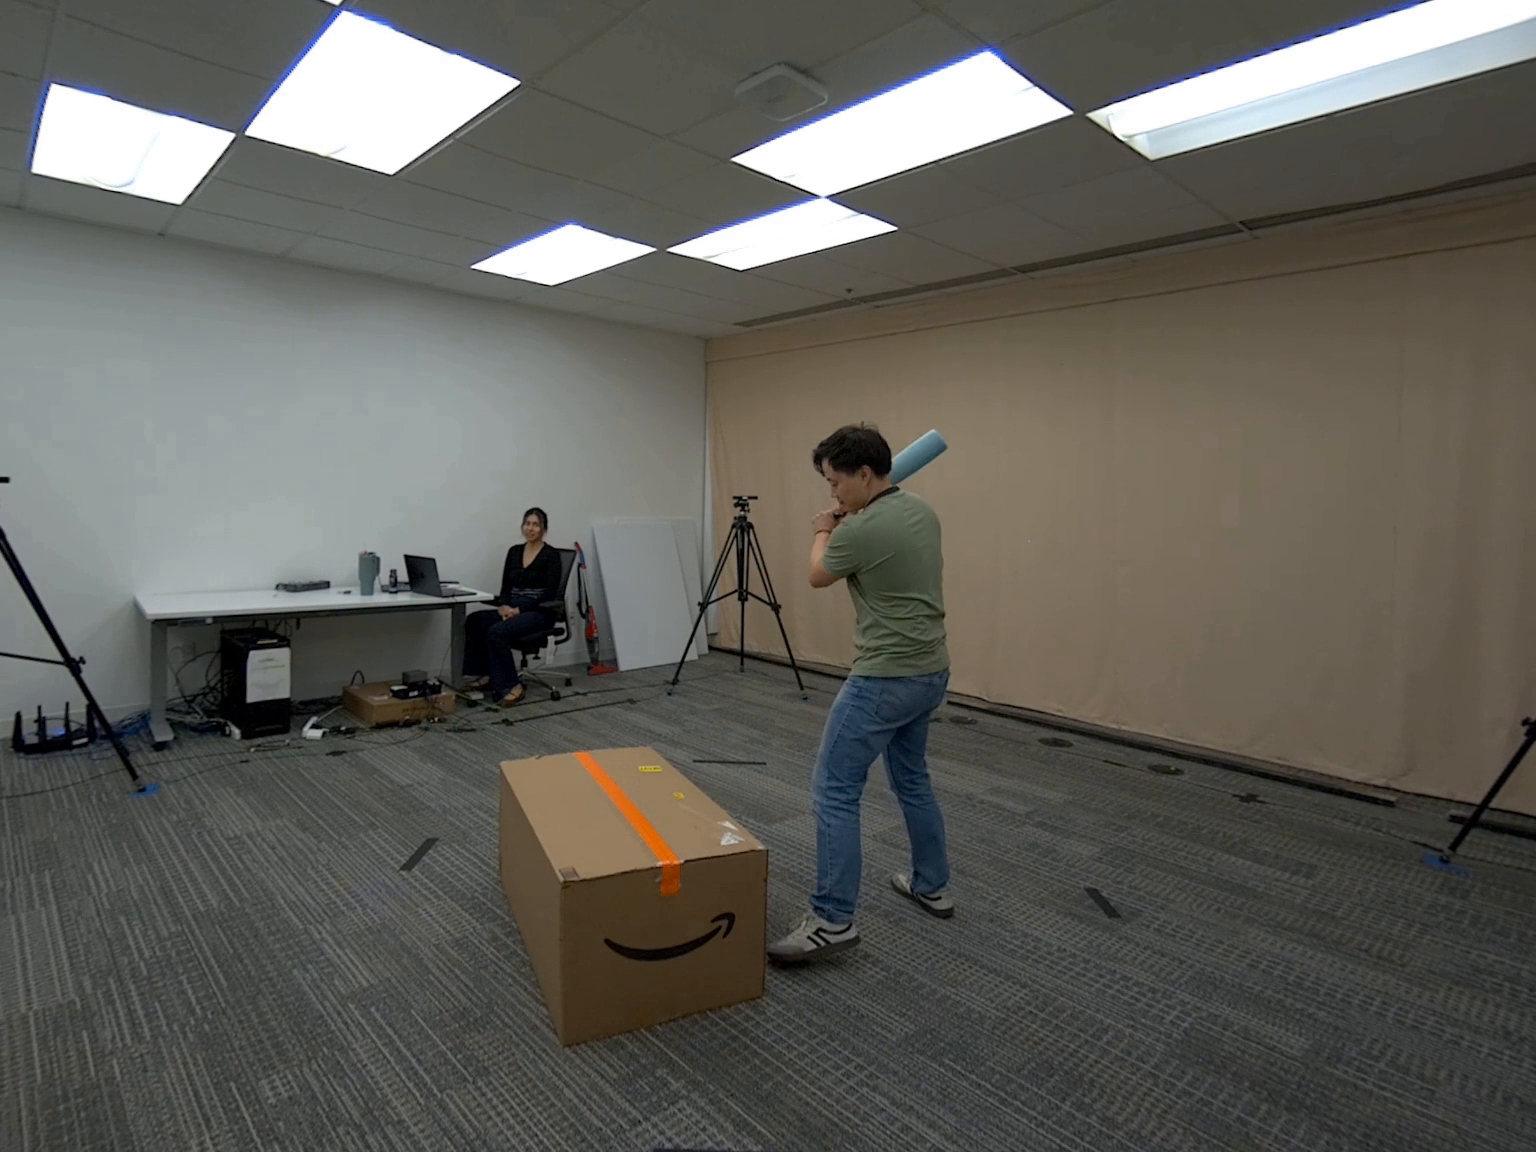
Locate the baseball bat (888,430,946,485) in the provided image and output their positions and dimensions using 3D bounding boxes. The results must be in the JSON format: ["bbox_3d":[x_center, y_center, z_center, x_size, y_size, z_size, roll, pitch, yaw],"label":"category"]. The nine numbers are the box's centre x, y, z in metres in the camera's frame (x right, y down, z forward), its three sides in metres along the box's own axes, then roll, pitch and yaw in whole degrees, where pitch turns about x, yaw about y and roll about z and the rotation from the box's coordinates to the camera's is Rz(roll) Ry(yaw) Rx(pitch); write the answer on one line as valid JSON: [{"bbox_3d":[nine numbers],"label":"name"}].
[{"bbox_3d":[0.343,-0.313,2.960,0.544,0.090,0.088,-38,-5,13],"label":"baseball bat"}]
